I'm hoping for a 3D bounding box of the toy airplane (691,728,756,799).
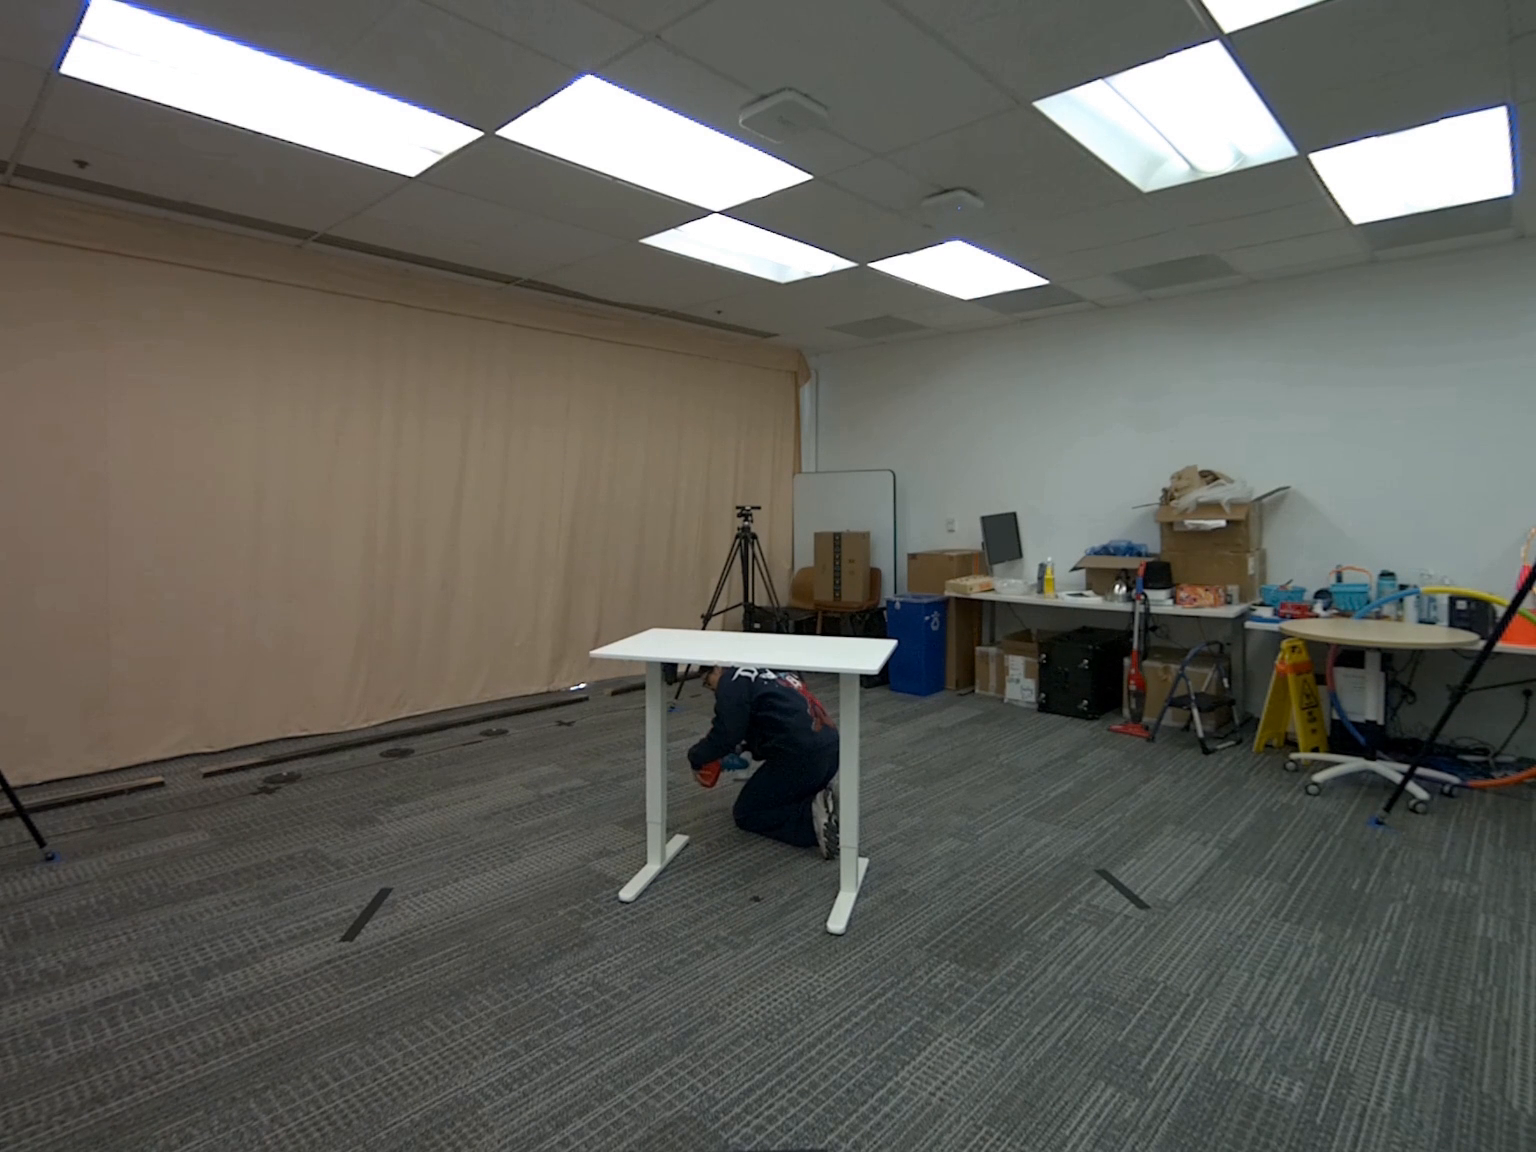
[{"bbox_3d":[-0.167,0.797,3.754,0.260,0.258,0.152,-22,-35,5],"label":"toy airplane"}]
